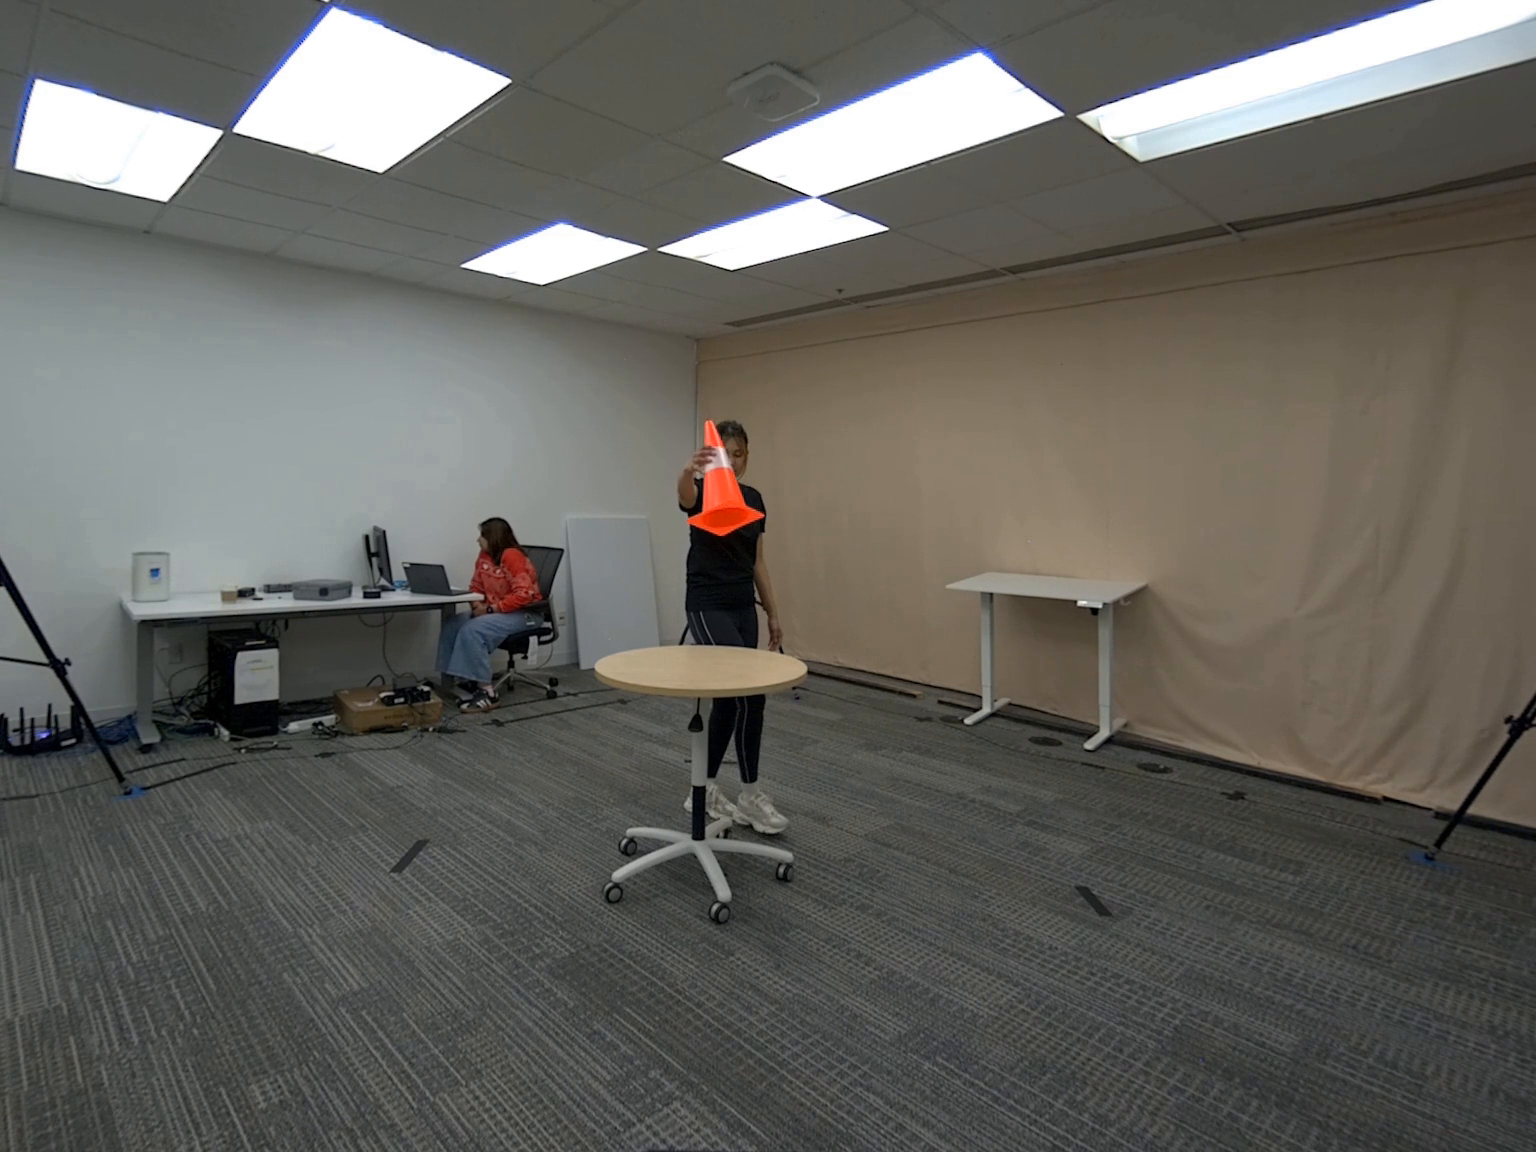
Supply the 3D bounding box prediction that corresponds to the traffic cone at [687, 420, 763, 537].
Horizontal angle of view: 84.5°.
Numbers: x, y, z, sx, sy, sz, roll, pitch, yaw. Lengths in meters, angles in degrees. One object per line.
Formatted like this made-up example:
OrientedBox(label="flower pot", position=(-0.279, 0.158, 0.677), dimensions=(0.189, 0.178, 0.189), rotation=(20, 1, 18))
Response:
OrientedBox(label="traffic cone", position=(-0.186, -0.358, 2.906), dimensions=(0.207, 0.391, 0.197), rotation=(-23, -27, 30))
